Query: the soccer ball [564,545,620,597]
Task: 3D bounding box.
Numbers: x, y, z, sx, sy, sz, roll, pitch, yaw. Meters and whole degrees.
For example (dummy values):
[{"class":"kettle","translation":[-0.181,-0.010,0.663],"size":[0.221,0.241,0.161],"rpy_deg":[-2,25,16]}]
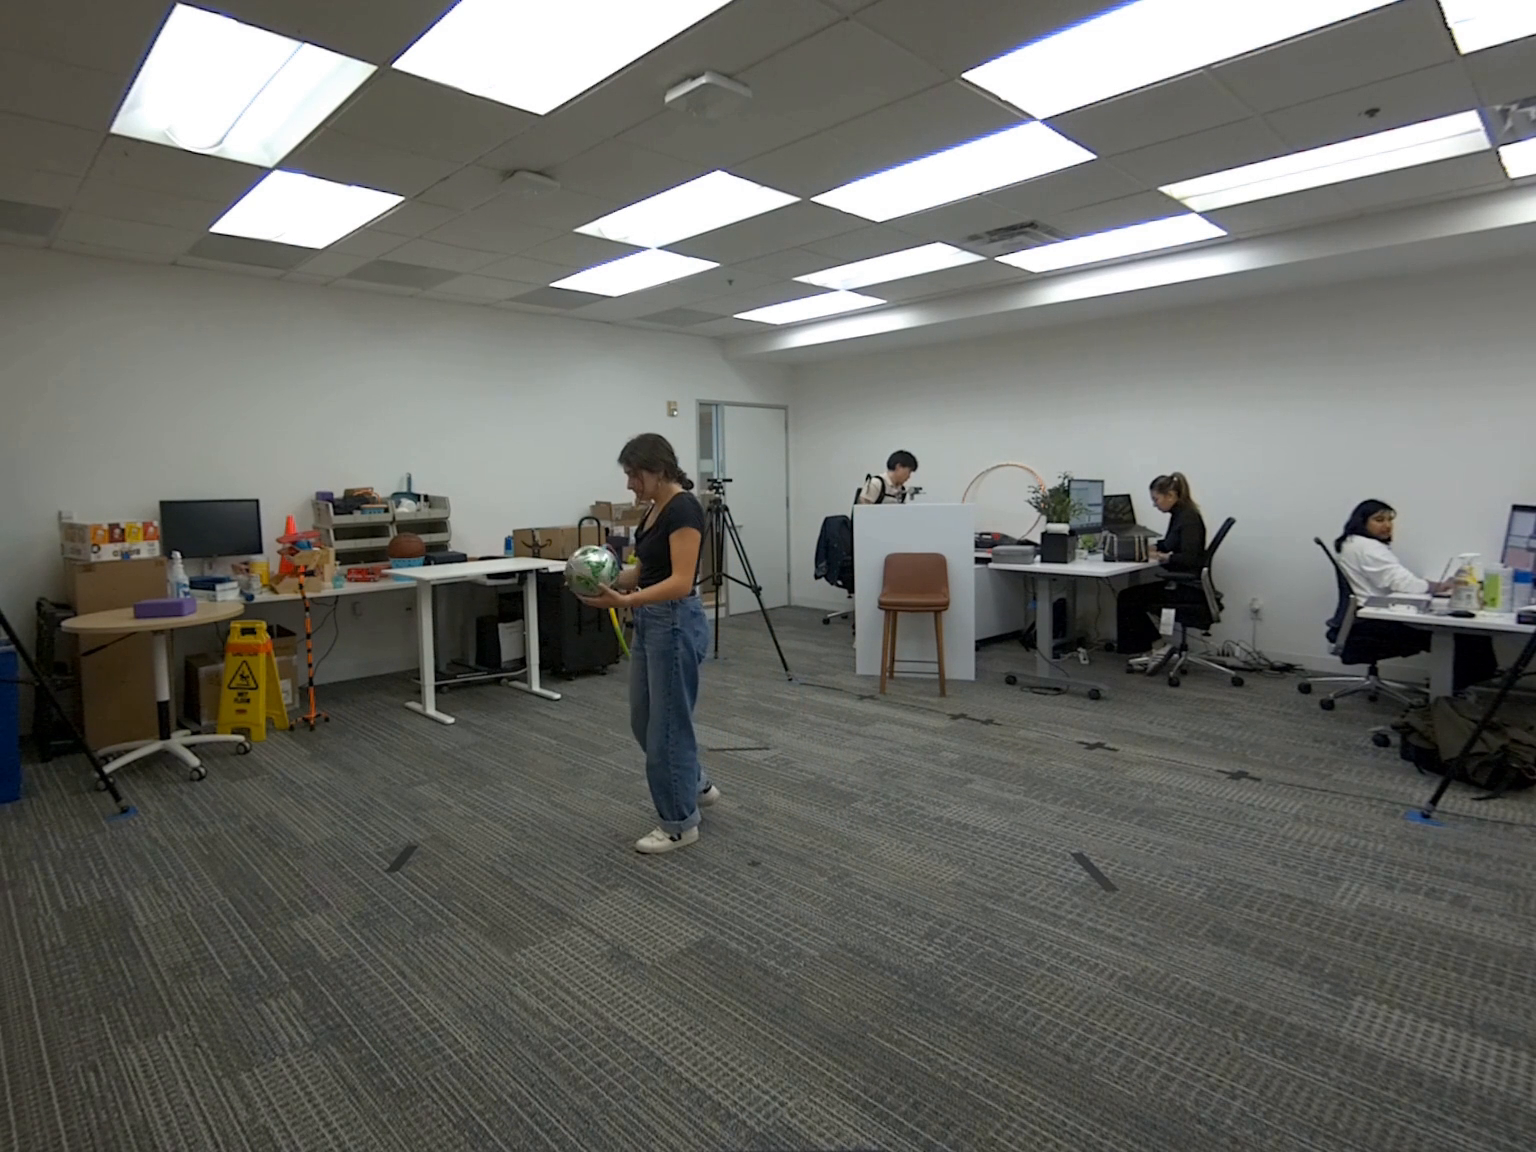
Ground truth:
[{"class":"soccer ball","translation":[-0.613,-0.003,3.066],"size":[0.187,0.187,0.188],"rpy_deg":[-1,5,-2]}]
